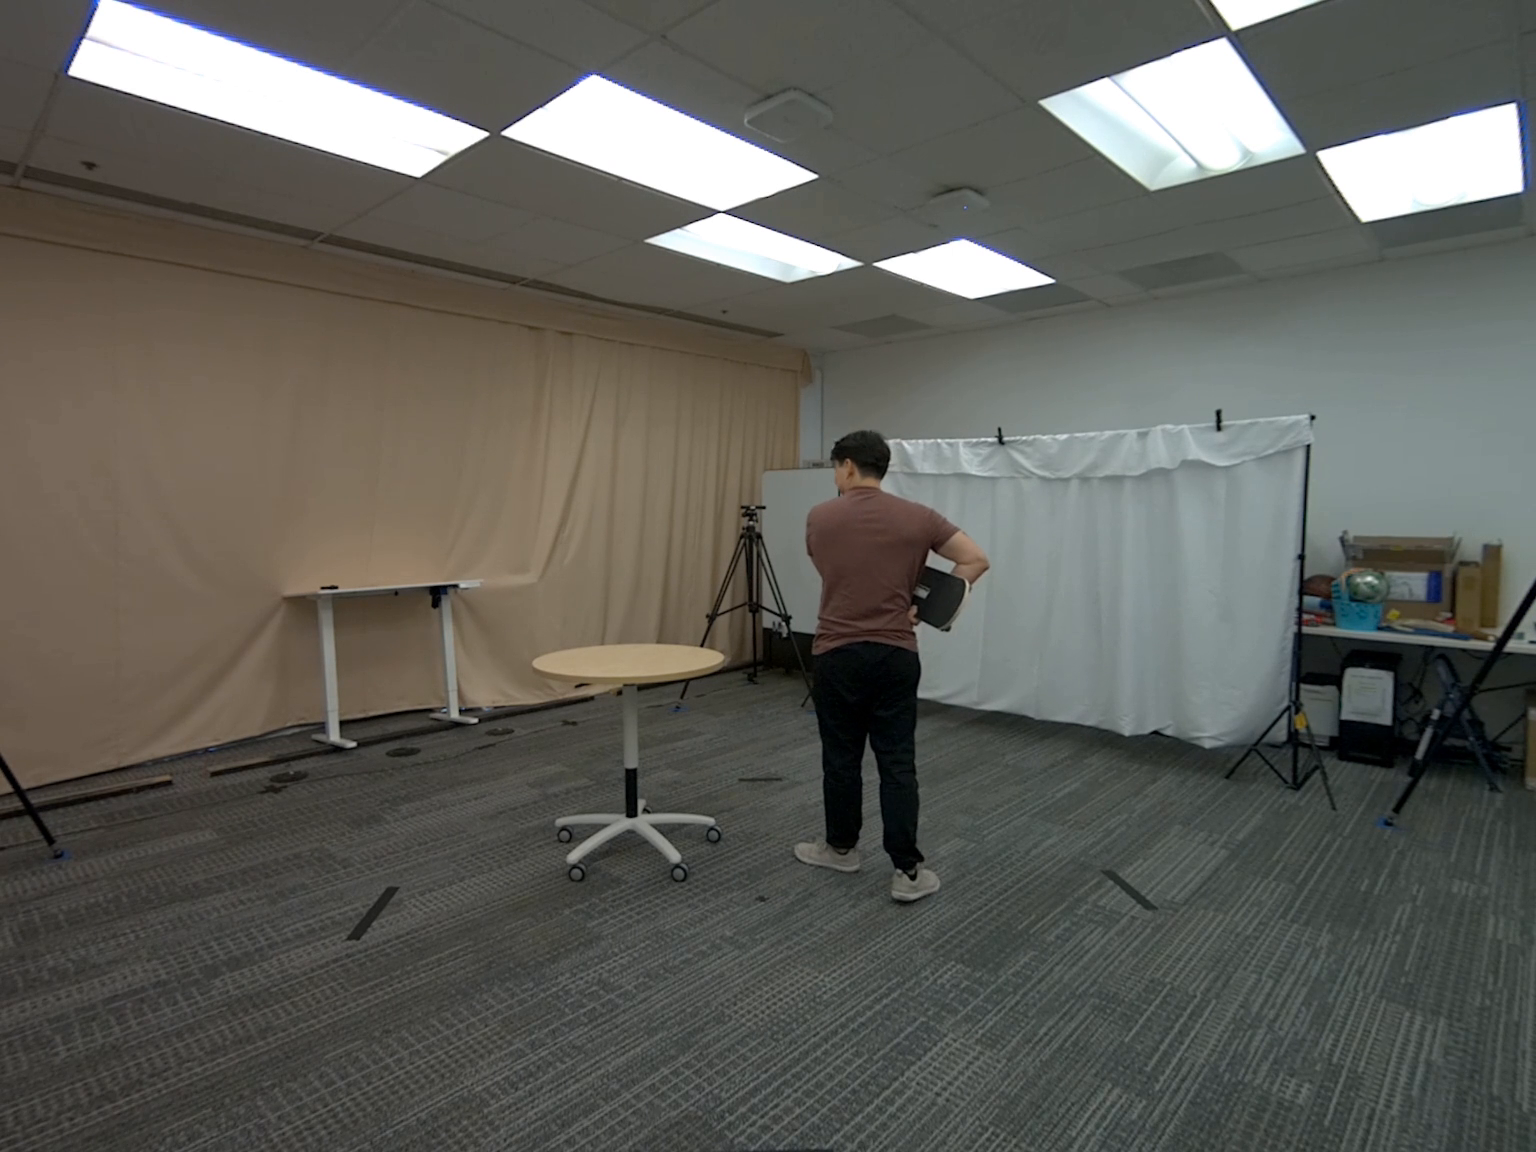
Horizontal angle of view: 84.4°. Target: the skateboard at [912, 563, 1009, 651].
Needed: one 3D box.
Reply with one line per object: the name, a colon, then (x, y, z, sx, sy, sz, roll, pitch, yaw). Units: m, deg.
skateboard: (0.590, 0.066, 3.127, 0.108, 0.193, 0.800, 29, 1, -17)
